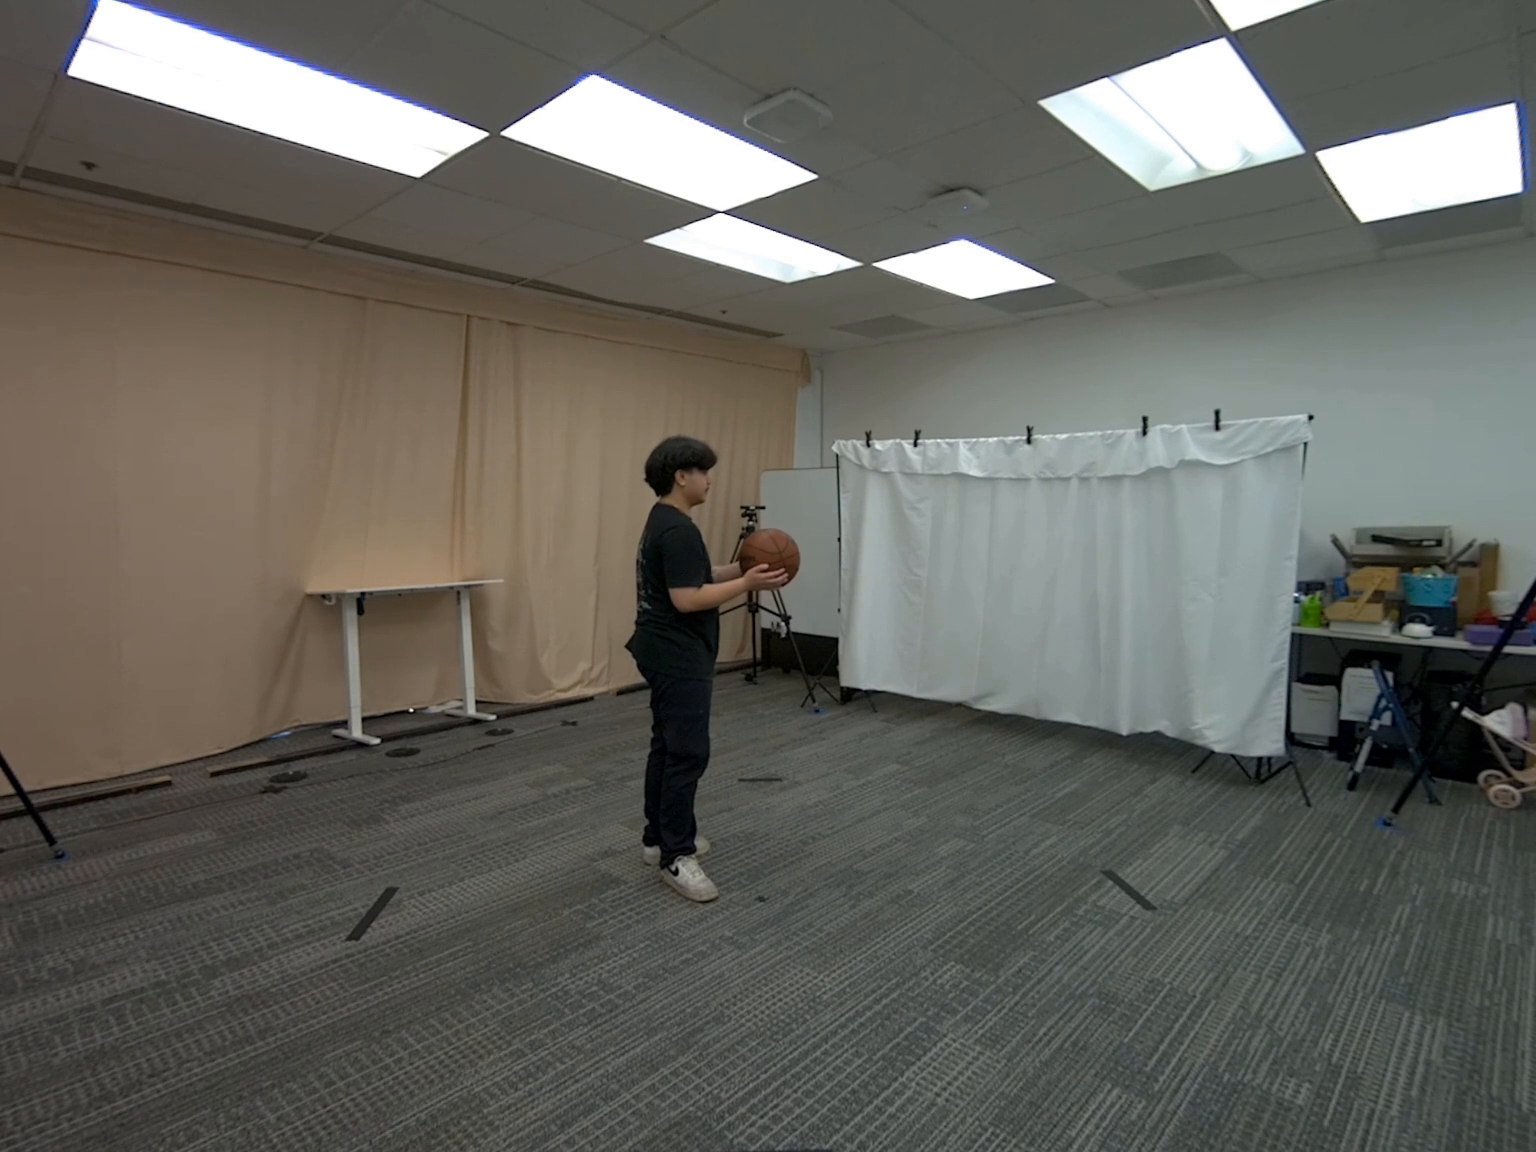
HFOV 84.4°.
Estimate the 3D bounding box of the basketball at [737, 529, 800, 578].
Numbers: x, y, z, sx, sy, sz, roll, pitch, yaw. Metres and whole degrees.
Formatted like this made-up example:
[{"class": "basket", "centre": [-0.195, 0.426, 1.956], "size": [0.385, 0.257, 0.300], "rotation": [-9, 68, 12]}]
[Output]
[{"class": "basketball", "centre": [0.007, -0.064, 3.257], "size": [0.236, 0.235, 0.237], "rotation": [0, 4, -2]}]
